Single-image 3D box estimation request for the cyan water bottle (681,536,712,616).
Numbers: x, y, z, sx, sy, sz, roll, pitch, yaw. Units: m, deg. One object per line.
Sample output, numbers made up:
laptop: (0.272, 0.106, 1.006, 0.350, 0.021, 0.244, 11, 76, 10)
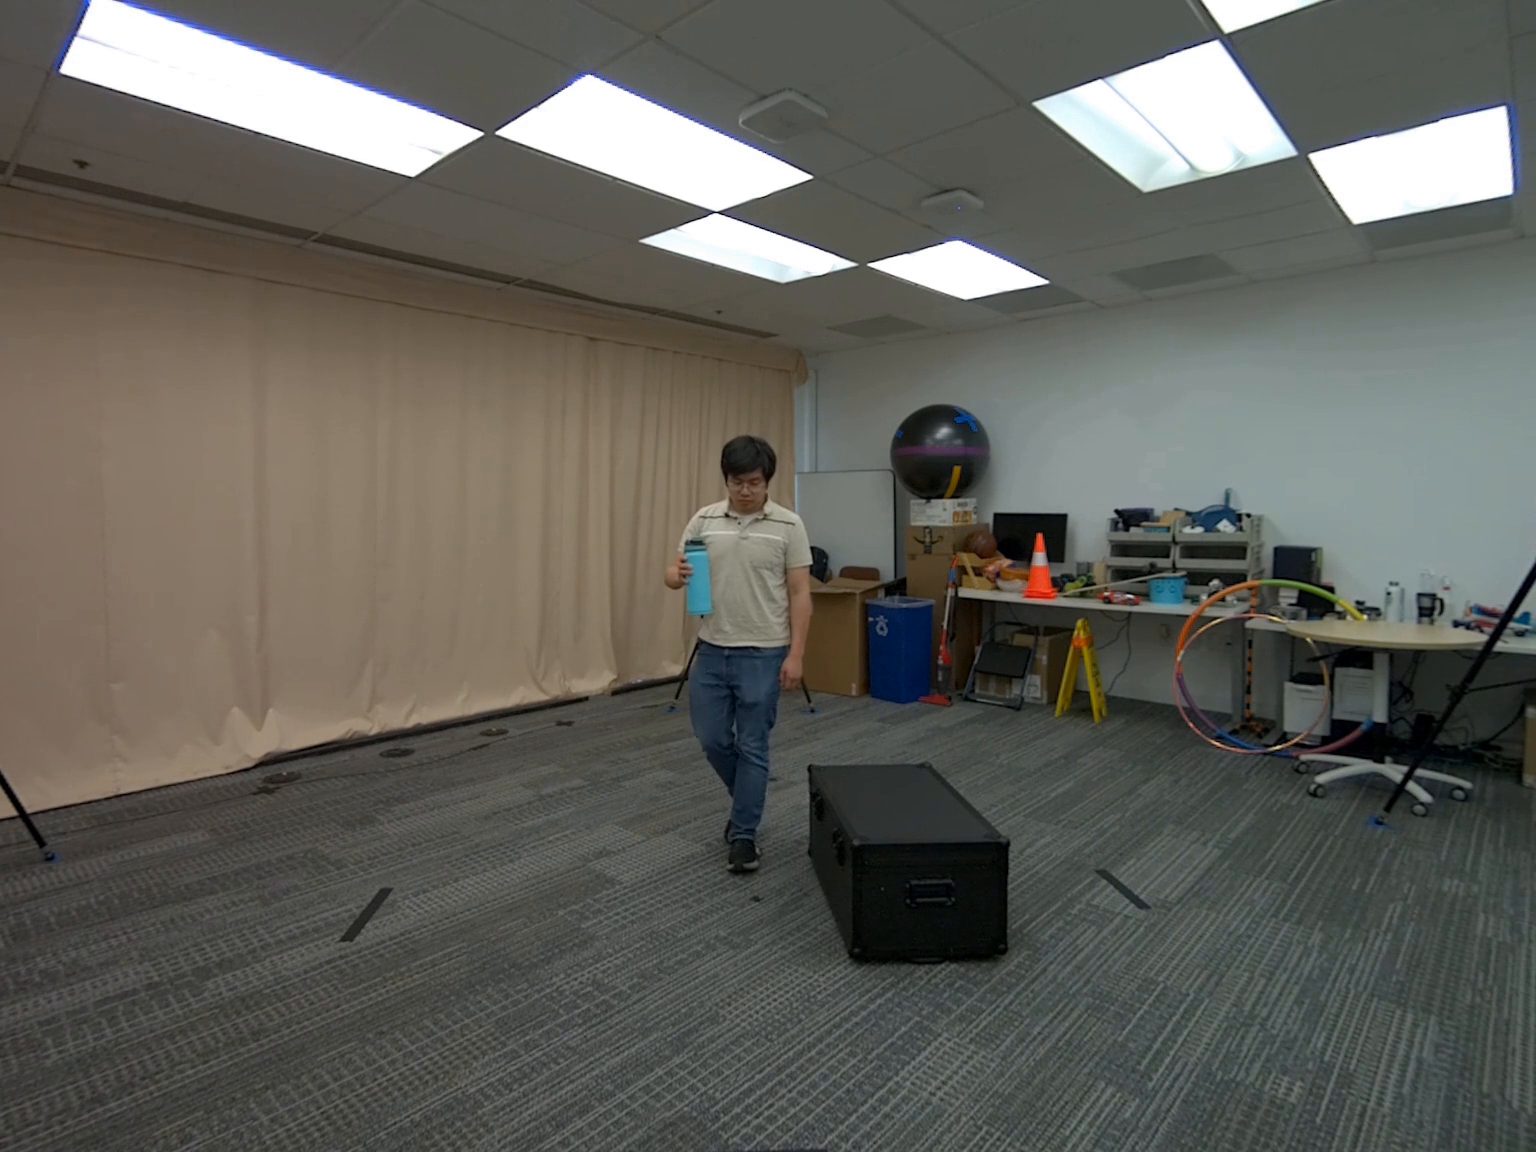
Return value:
cyan water bottle: (-0.259, -0.005, 3.072, 0.092, 0.283, 0.092, -3, 0, -2)
